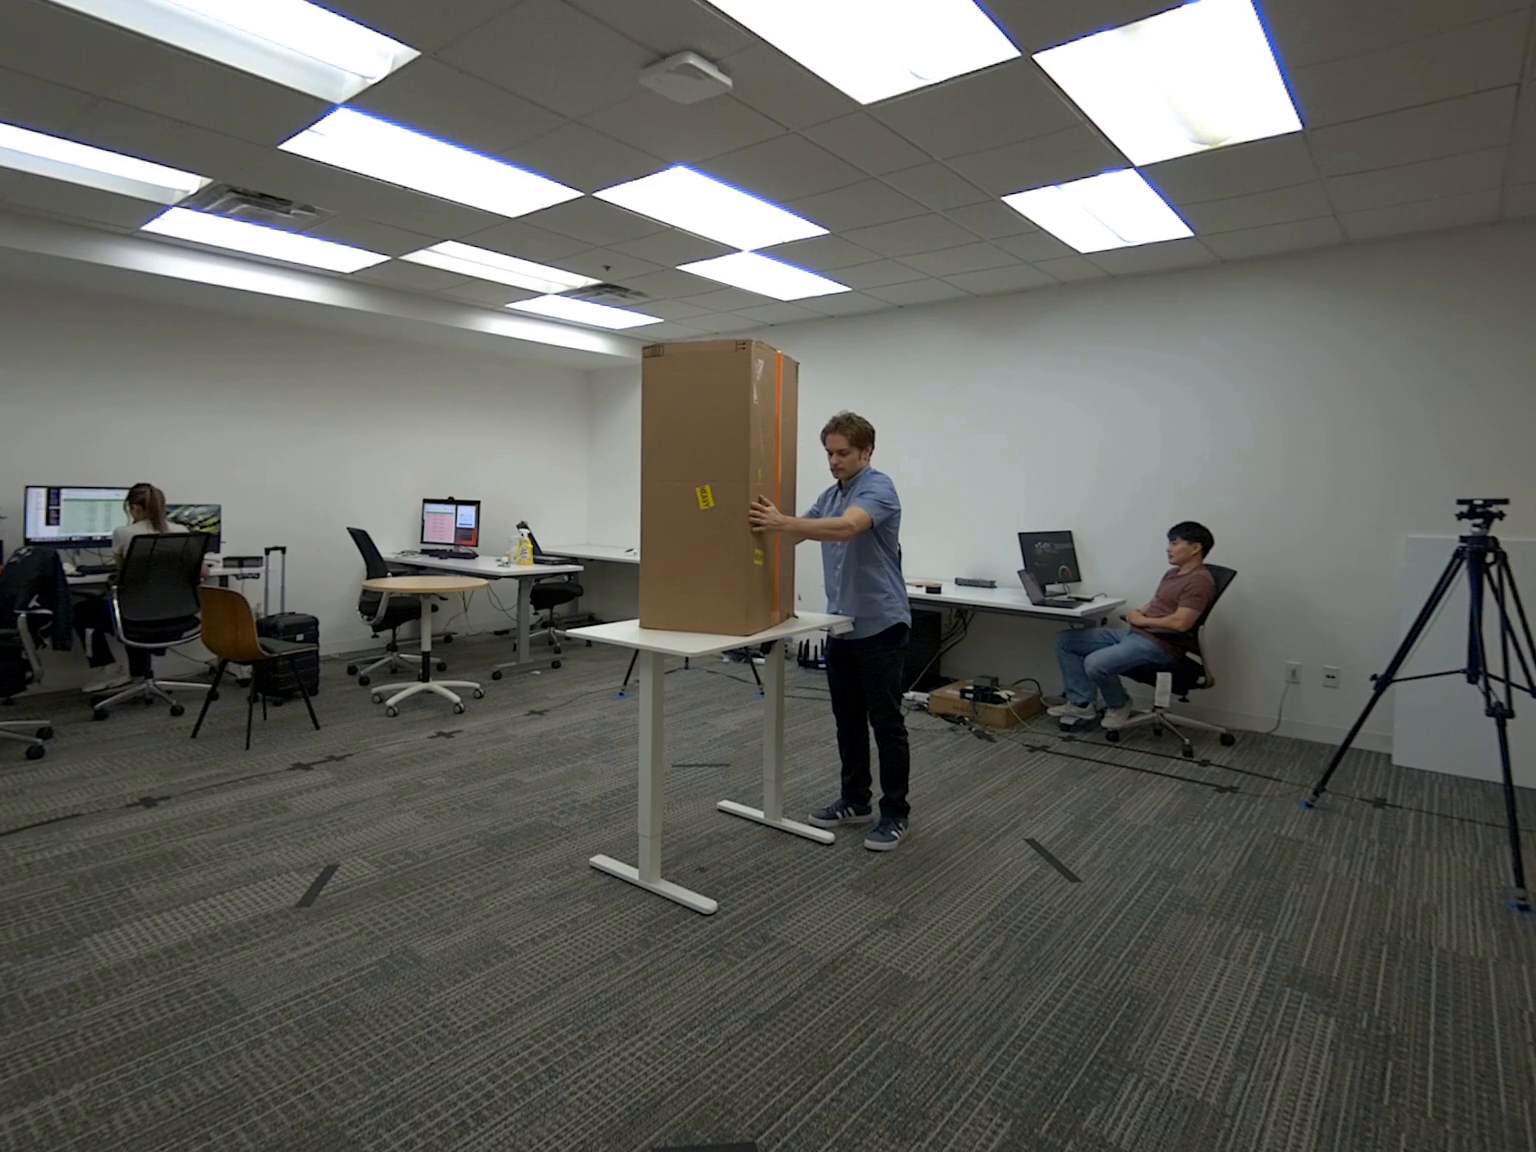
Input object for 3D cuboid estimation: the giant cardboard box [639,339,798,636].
[{"bbox_3d":[-0.175,-0.331,3.235,0.436,1.024,0.566,1,3,21],"label":"giant cardboard box"}]
